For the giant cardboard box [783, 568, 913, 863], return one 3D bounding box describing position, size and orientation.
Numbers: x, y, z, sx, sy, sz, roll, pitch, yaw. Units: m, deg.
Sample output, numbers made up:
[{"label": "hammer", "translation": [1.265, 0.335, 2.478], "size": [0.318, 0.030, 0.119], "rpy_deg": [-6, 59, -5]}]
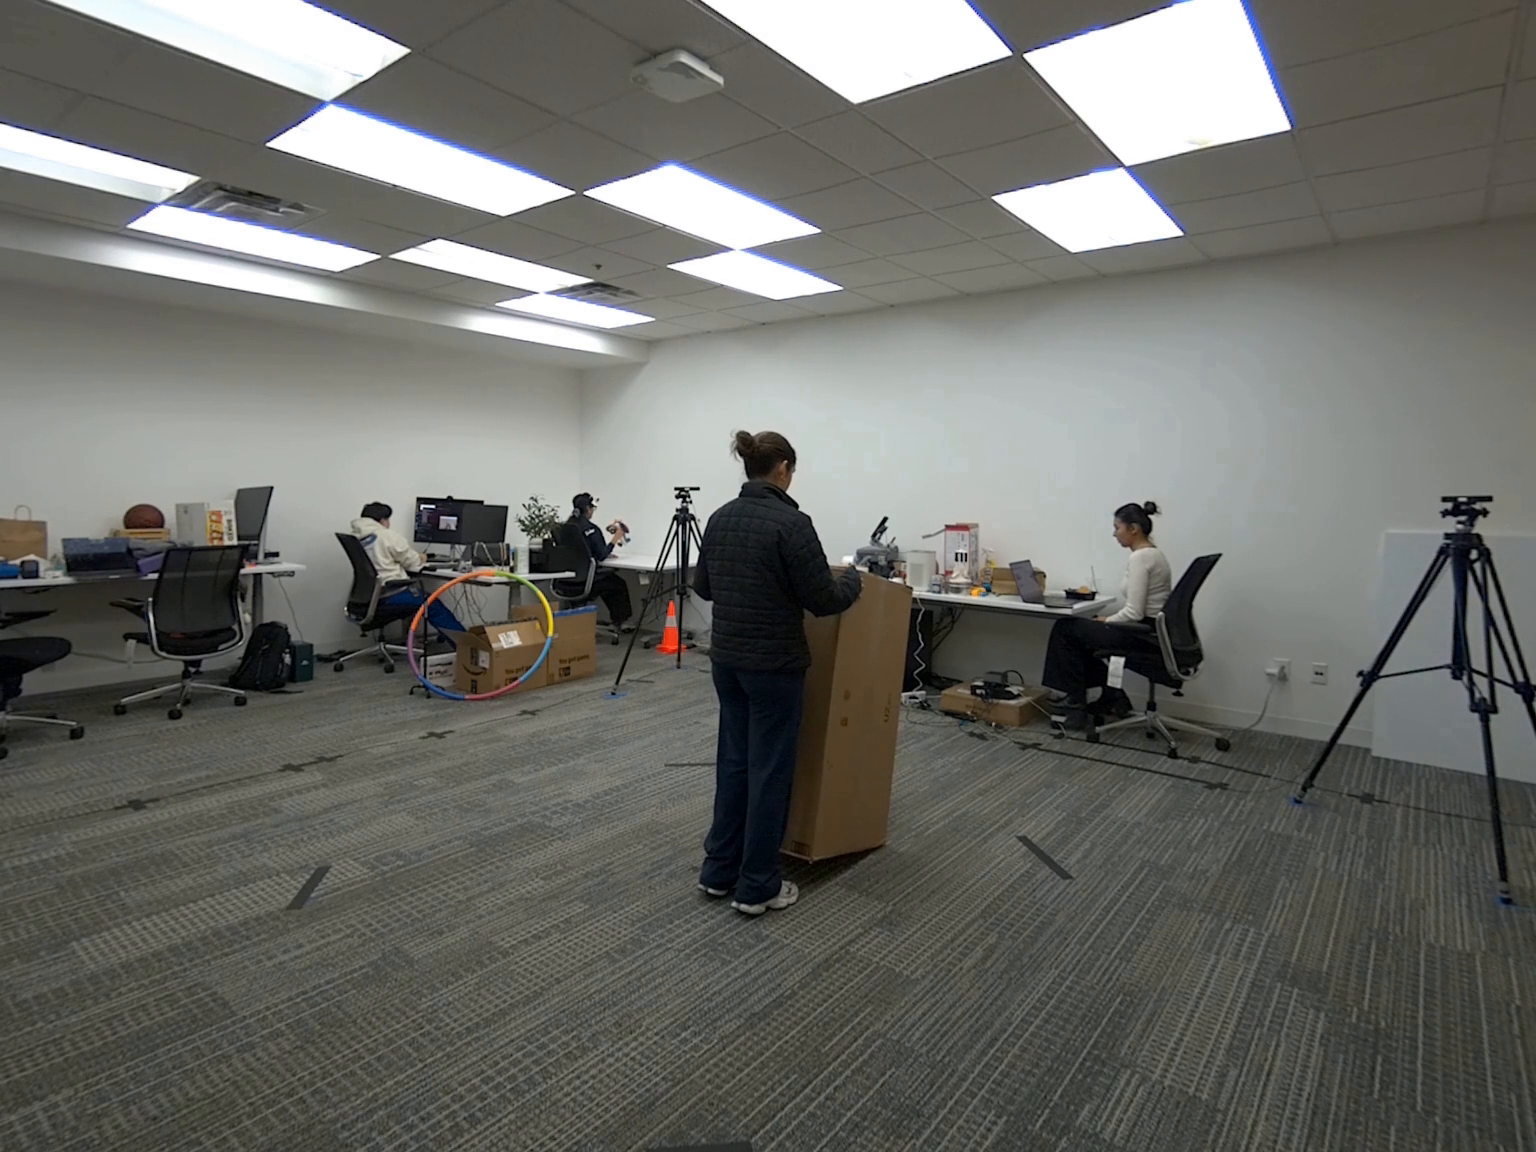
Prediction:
[{"label": "giant cardboard box", "translation": [0.219, 0.498, 3.331], "size": [0.440, 1.031, 0.556], "rpy_deg": [3, -8, 37]}]
